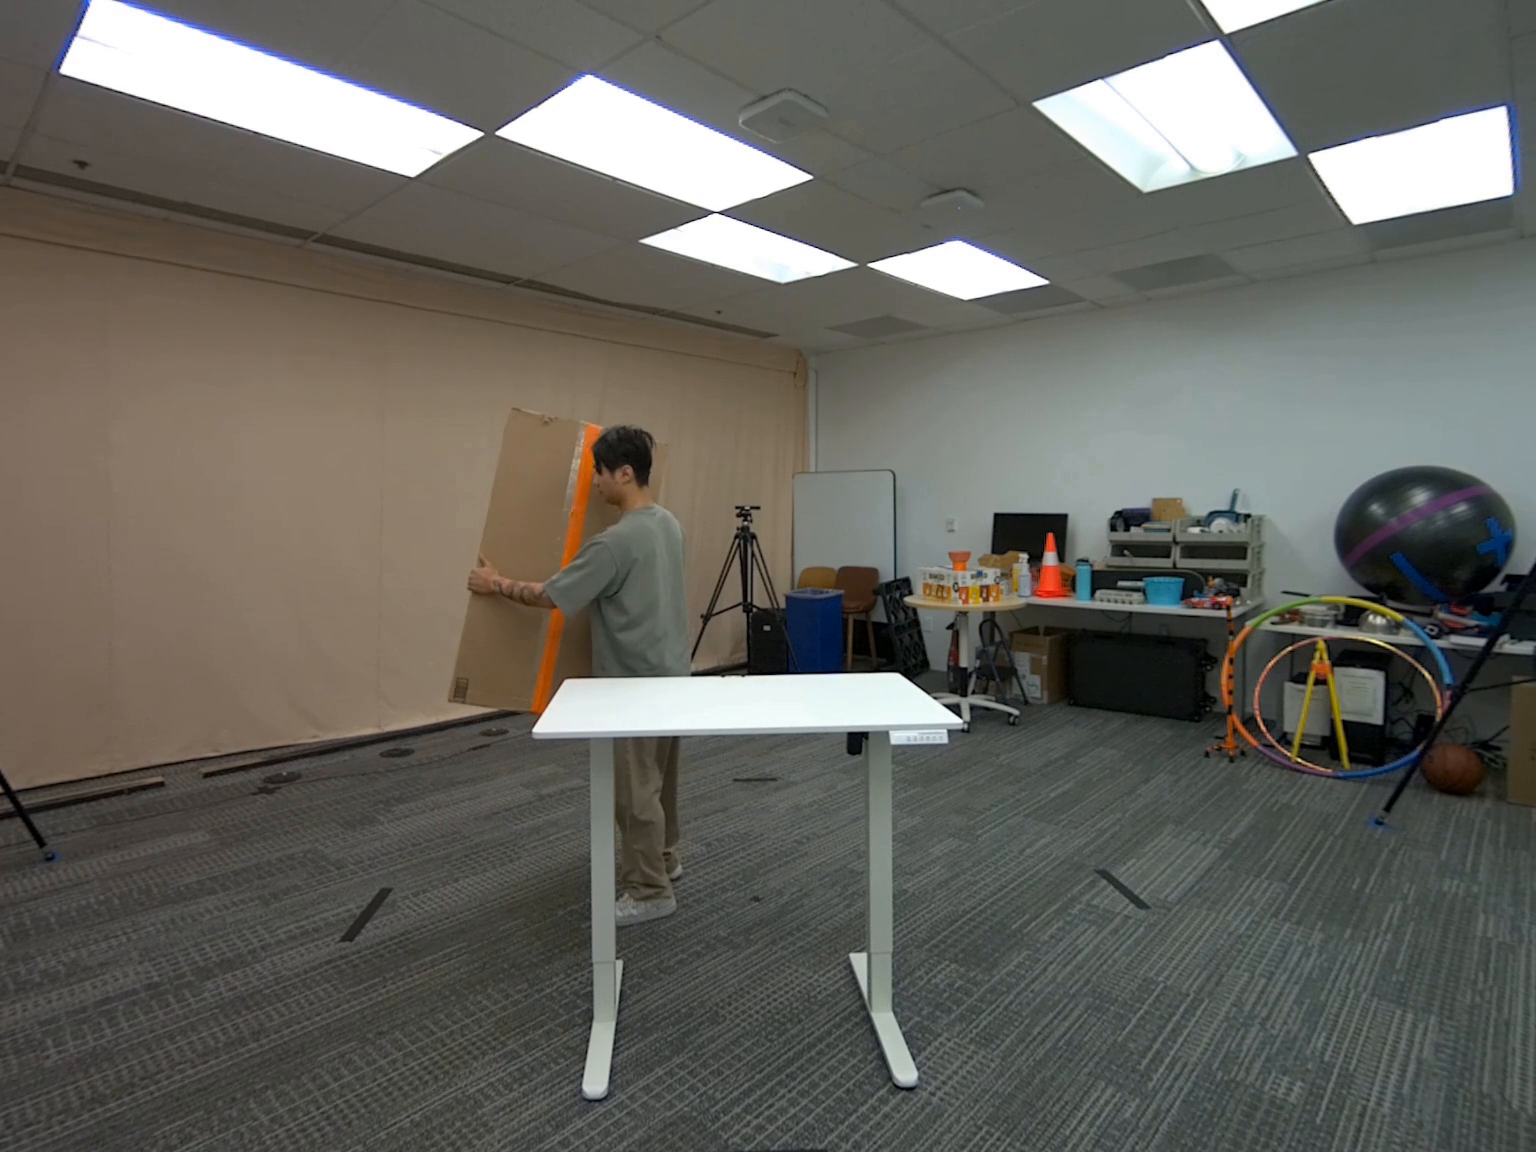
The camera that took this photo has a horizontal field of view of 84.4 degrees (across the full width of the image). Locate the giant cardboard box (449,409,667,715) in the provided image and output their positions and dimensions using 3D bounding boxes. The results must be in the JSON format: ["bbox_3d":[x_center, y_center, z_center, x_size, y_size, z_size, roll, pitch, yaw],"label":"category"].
[{"bbox_3d":[-0.772,-0.020,3.110,0.567,1.029,0.433,11,-8,-17],"label":"giant cardboard box"}]
